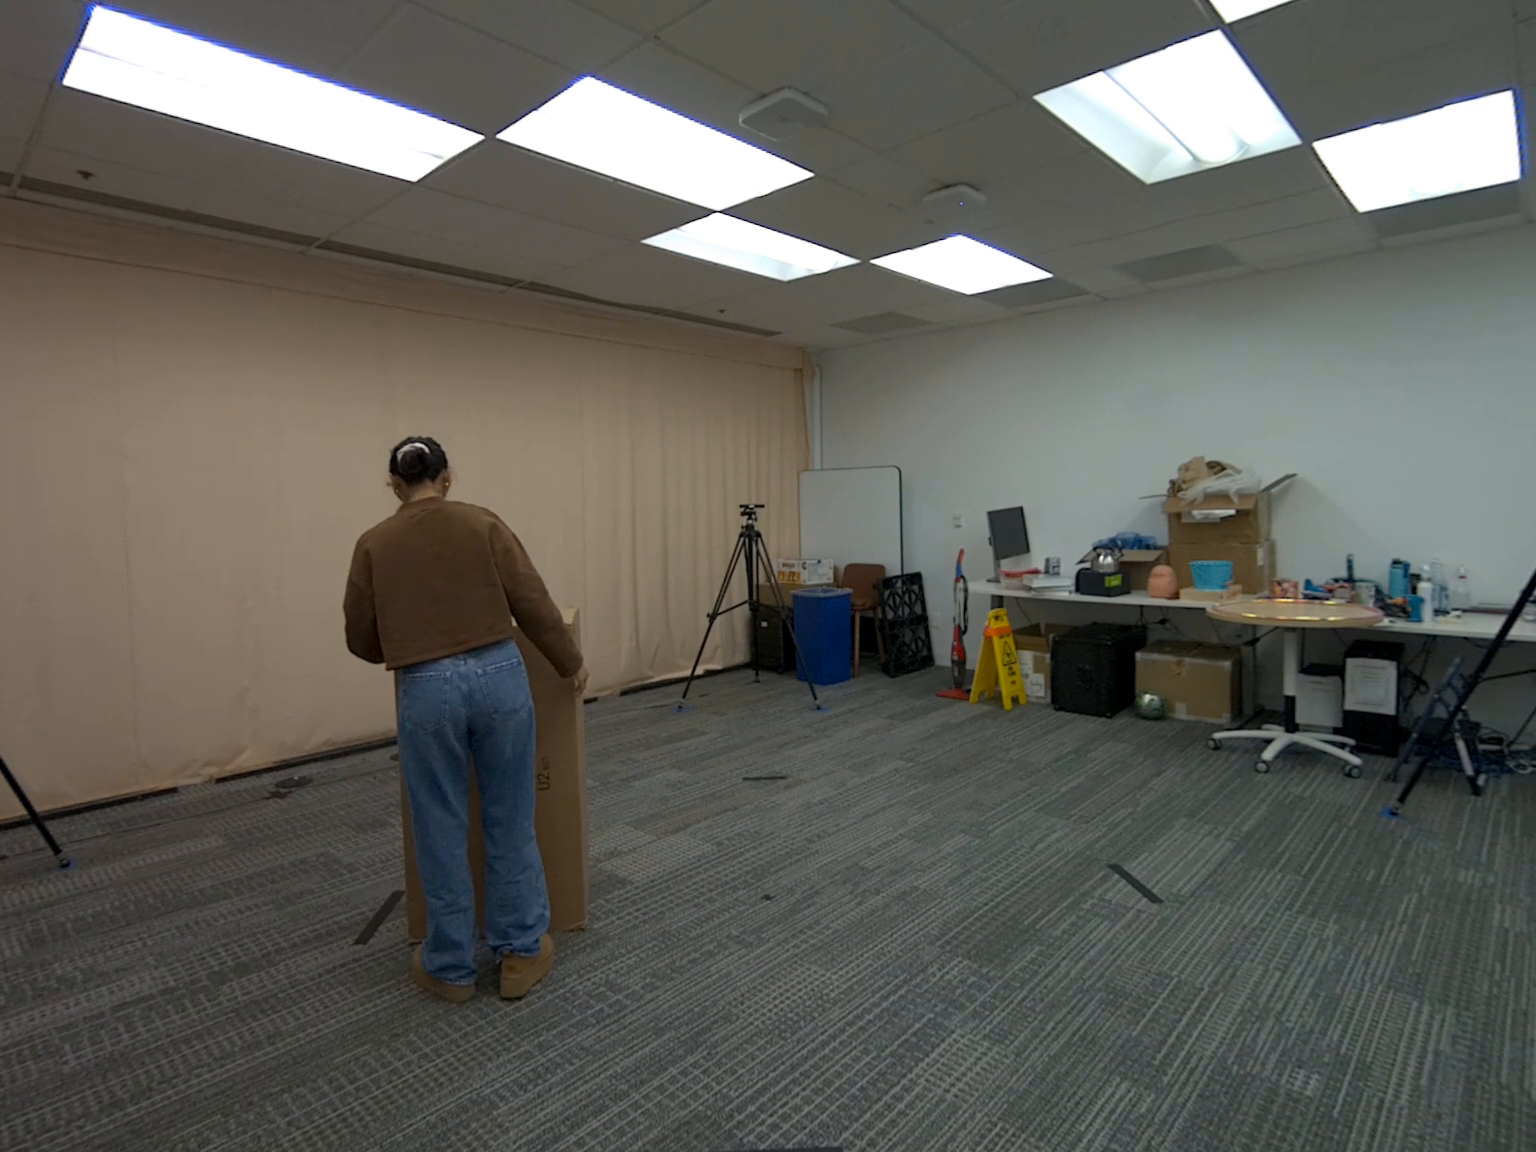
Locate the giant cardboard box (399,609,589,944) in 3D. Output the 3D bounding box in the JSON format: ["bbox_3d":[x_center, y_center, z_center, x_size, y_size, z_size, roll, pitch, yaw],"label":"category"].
[{"bbox_3d":[-0.941,0.660,2.938,0.573,1.023,0.430,-3,3,-8],"label":"giant cardboard box"}]
